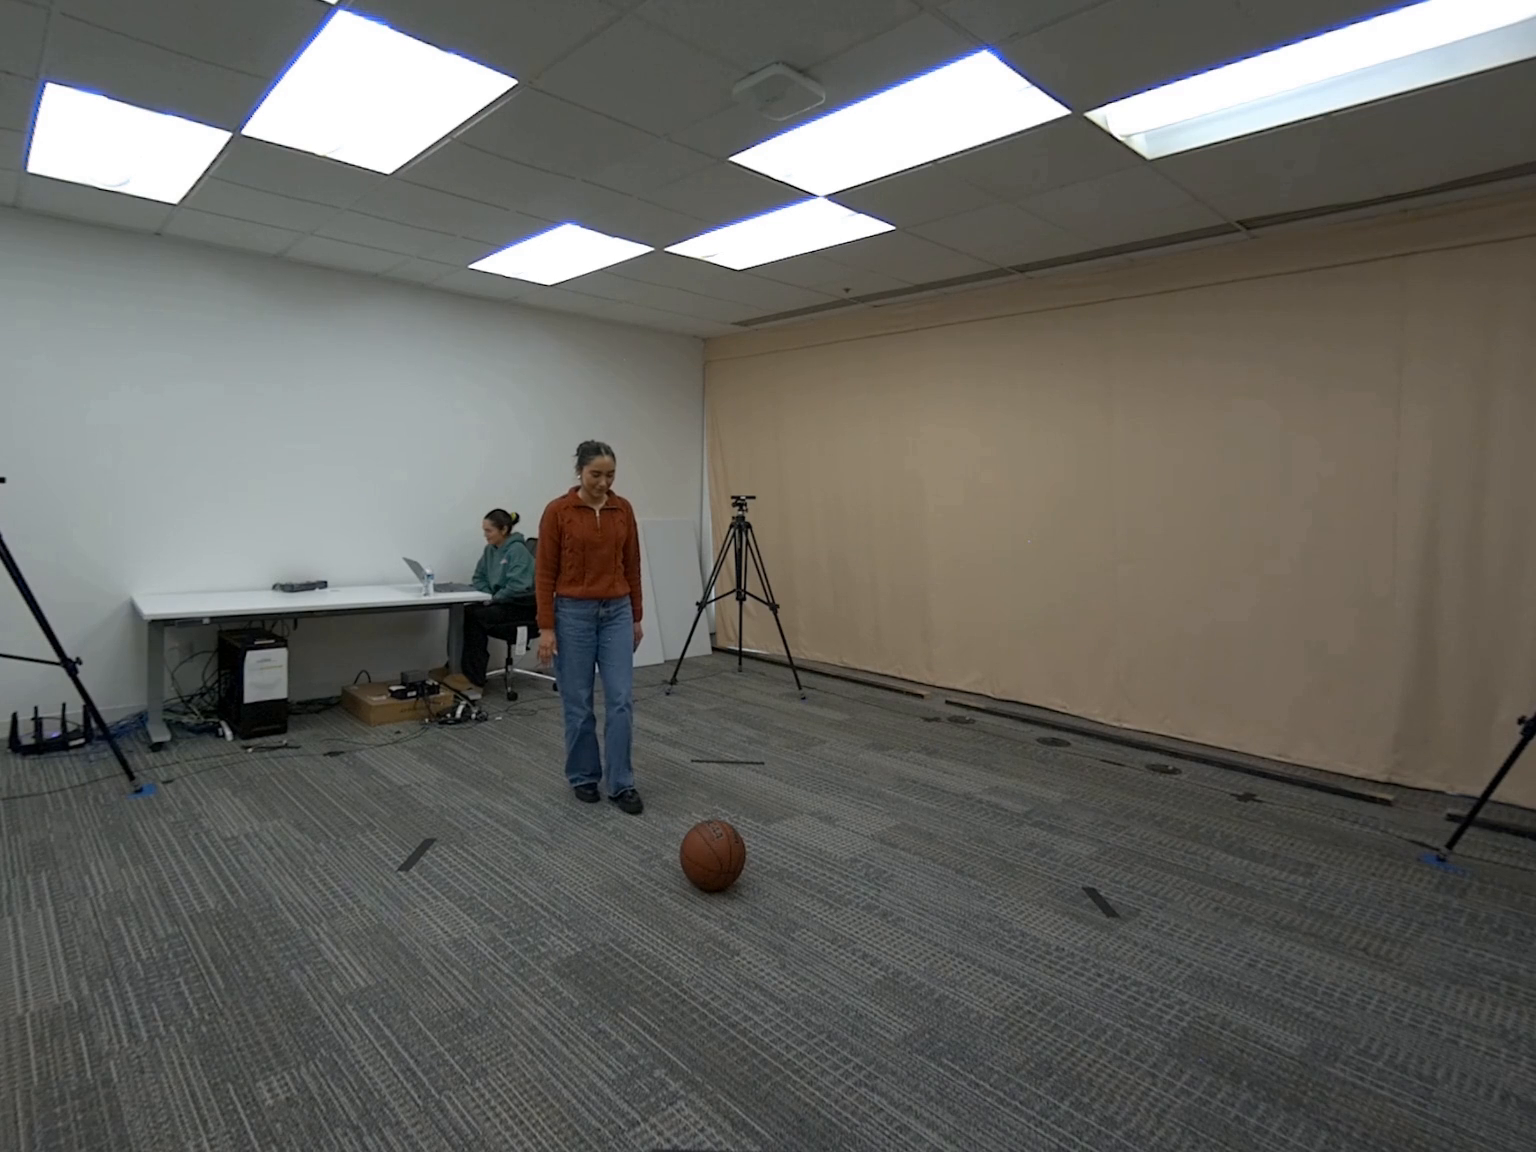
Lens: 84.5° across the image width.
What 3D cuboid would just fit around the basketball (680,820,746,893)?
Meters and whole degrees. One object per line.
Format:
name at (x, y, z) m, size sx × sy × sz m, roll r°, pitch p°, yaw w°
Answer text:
basketball at (-0.205, 0.993, 3.002) m, size 0.236 × 0.235 × 0.237 m, roll 1°, pitch 4°, yaw -1°
